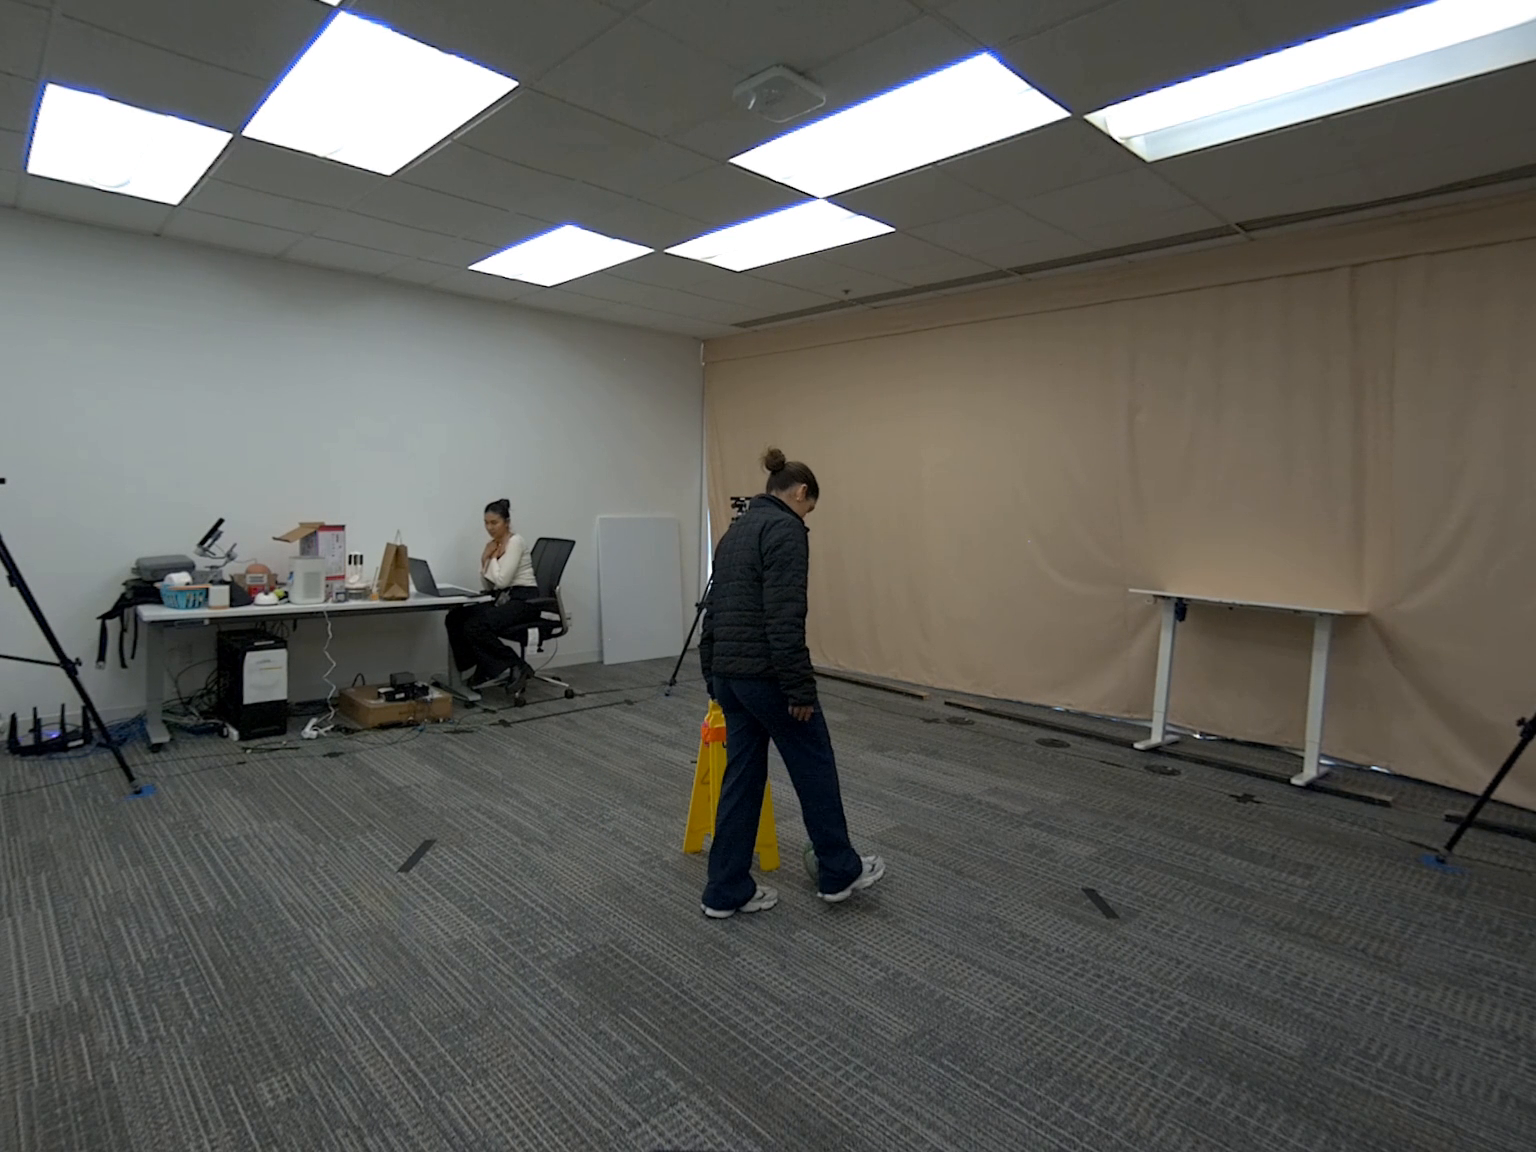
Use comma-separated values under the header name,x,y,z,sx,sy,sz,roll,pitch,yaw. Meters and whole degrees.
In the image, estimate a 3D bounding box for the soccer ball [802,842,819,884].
name,x,y,z,sx,sy,sz,roll,pitch,yaw
soccer ball,0.218,1.031,3.049,0.187,0.187,0.188,1,4,-1
